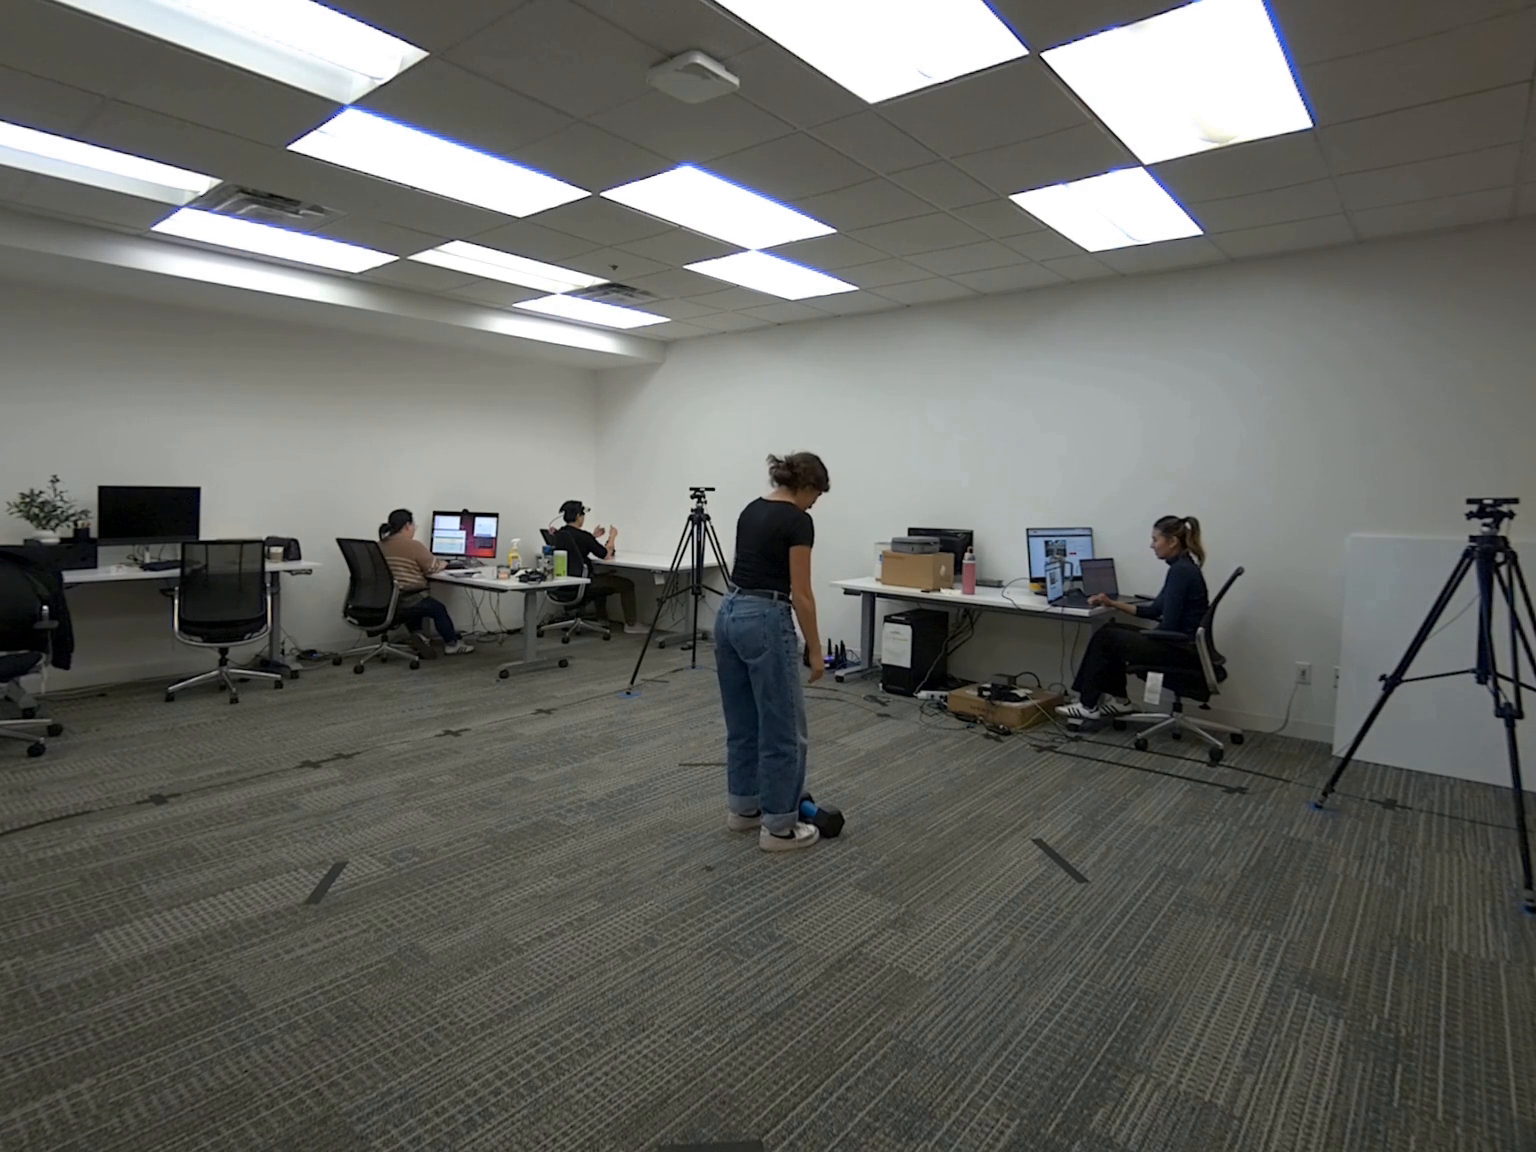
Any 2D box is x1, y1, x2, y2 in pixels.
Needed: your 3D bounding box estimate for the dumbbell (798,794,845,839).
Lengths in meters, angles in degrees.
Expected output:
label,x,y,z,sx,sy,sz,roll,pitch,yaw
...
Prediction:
label,x,y,z,sx,sy,sz,roll,pitch,yaw
dumbbell,0.182,0.979,3.534,0.105,0.123,0.302,32,-12,-29
